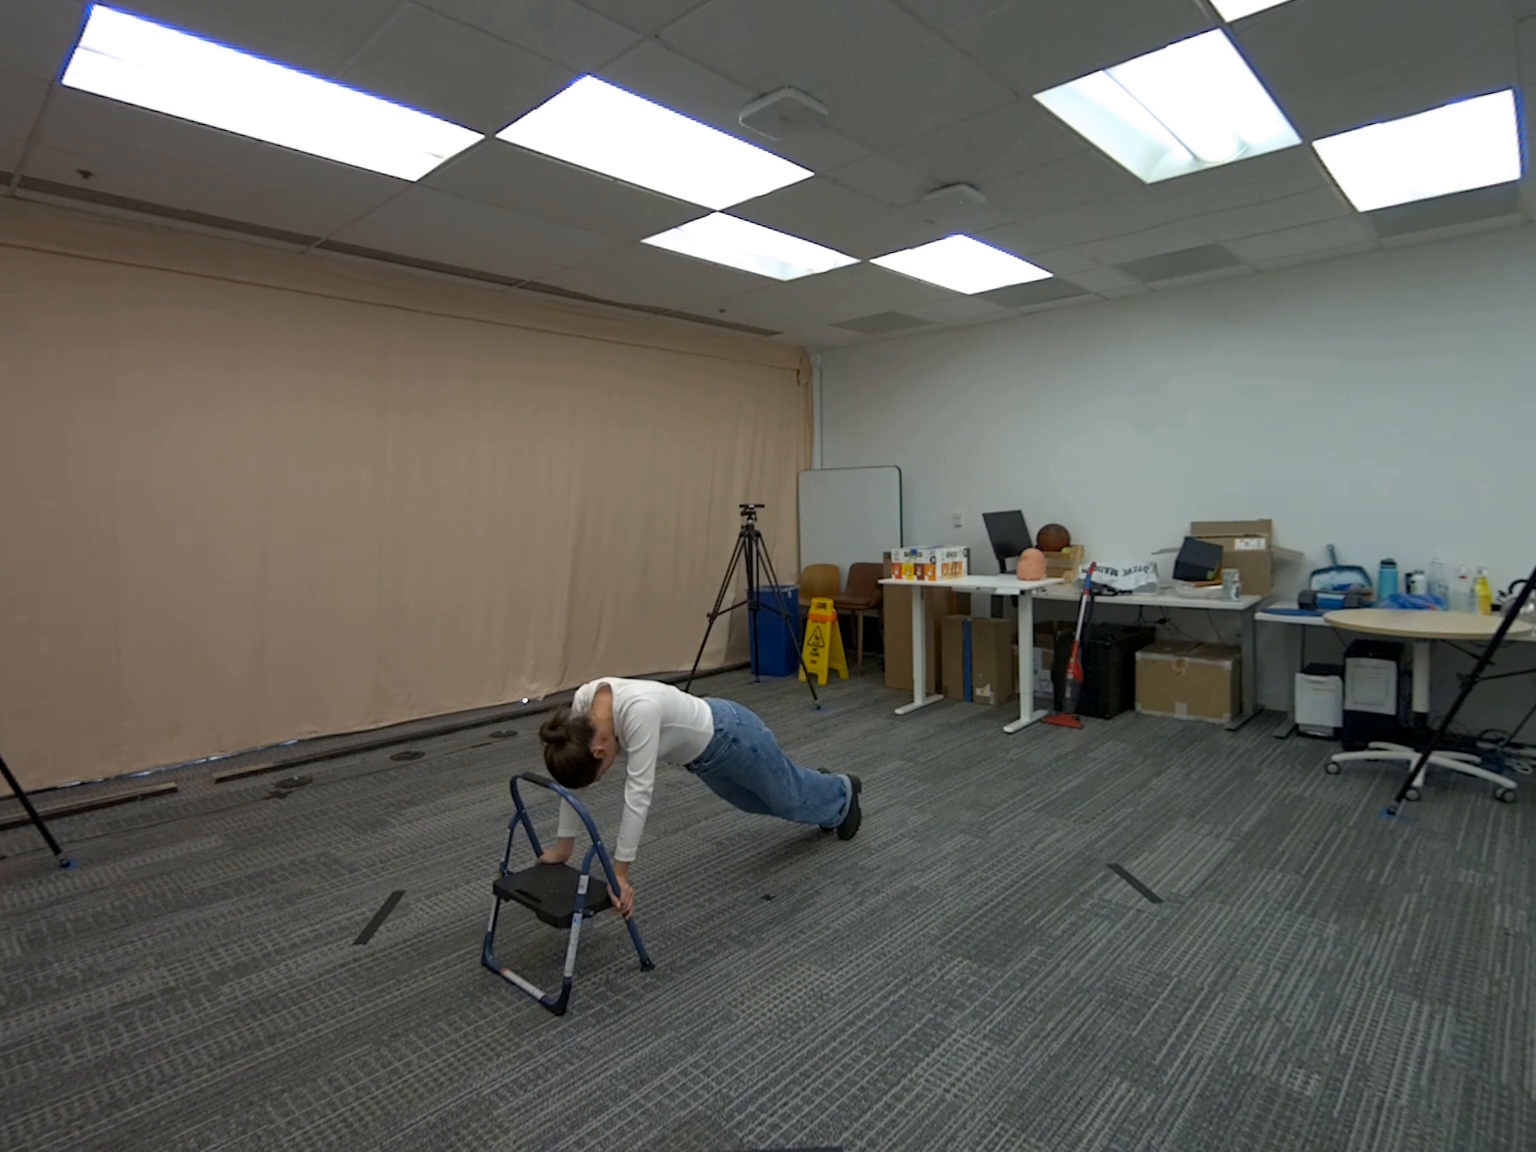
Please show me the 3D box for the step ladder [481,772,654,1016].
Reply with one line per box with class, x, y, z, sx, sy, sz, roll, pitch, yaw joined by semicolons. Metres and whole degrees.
step ladder;-0.622;0.891;2.548;0.445;0.605;0.339;2;4;41
